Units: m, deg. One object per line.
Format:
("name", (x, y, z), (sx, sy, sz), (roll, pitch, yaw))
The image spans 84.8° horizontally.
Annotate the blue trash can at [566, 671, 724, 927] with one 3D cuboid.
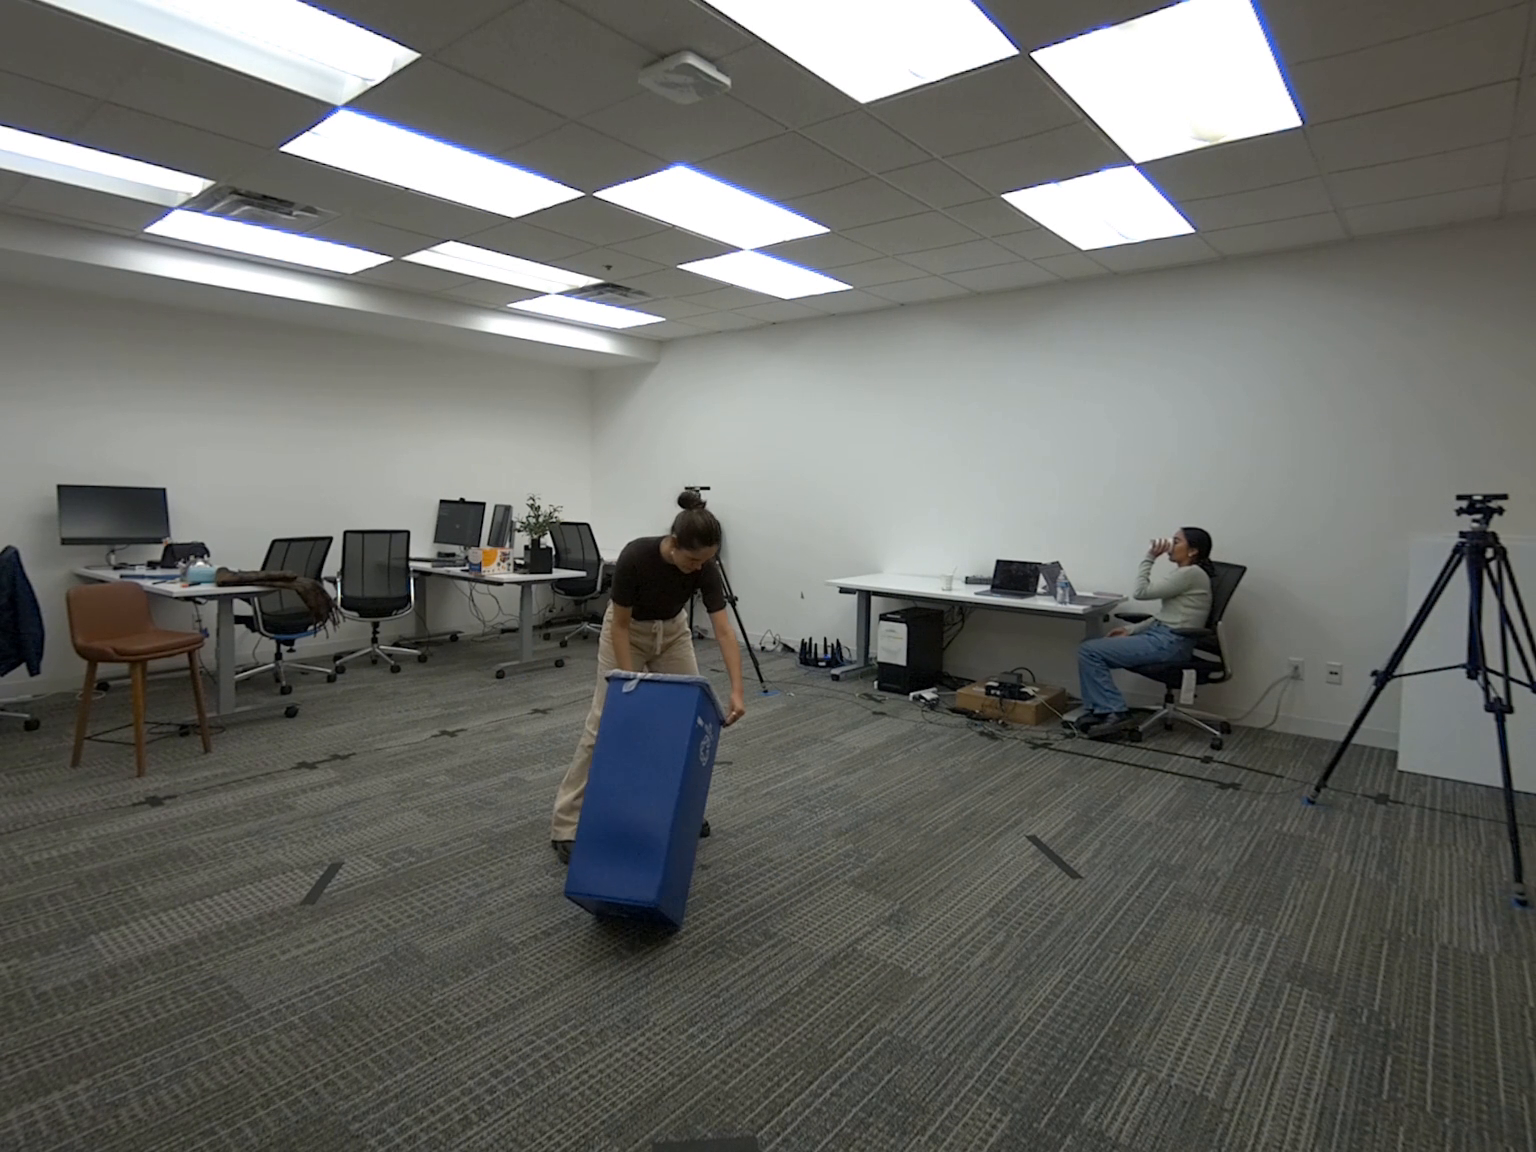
("blue trash can", (-0.403, 0.721, 2.789), (0.384, 0.728, 0.361), (1, -33, 12))
